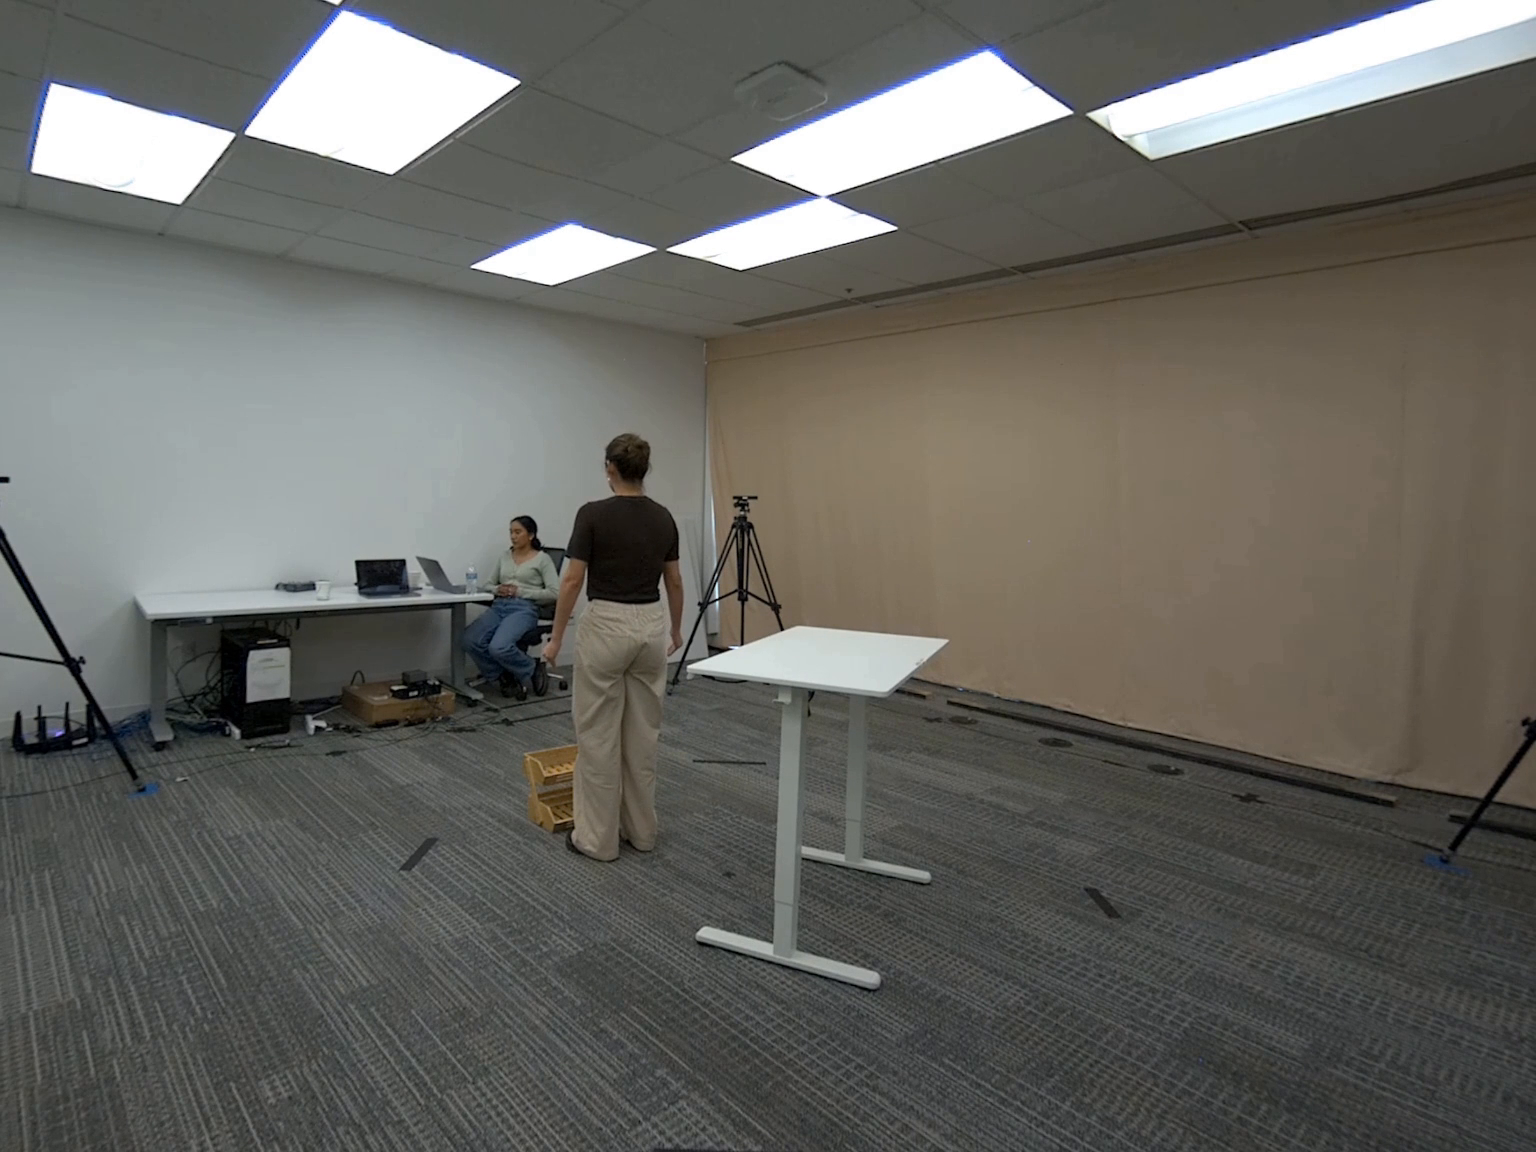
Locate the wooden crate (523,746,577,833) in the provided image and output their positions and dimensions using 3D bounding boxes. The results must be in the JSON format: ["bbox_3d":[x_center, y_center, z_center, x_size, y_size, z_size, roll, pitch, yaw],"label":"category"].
[{"bbox_3d":[-0.862,0.903,3.637,0.317,0.272,0.309,-3,5,-39],"label":"wooden crate"}]
